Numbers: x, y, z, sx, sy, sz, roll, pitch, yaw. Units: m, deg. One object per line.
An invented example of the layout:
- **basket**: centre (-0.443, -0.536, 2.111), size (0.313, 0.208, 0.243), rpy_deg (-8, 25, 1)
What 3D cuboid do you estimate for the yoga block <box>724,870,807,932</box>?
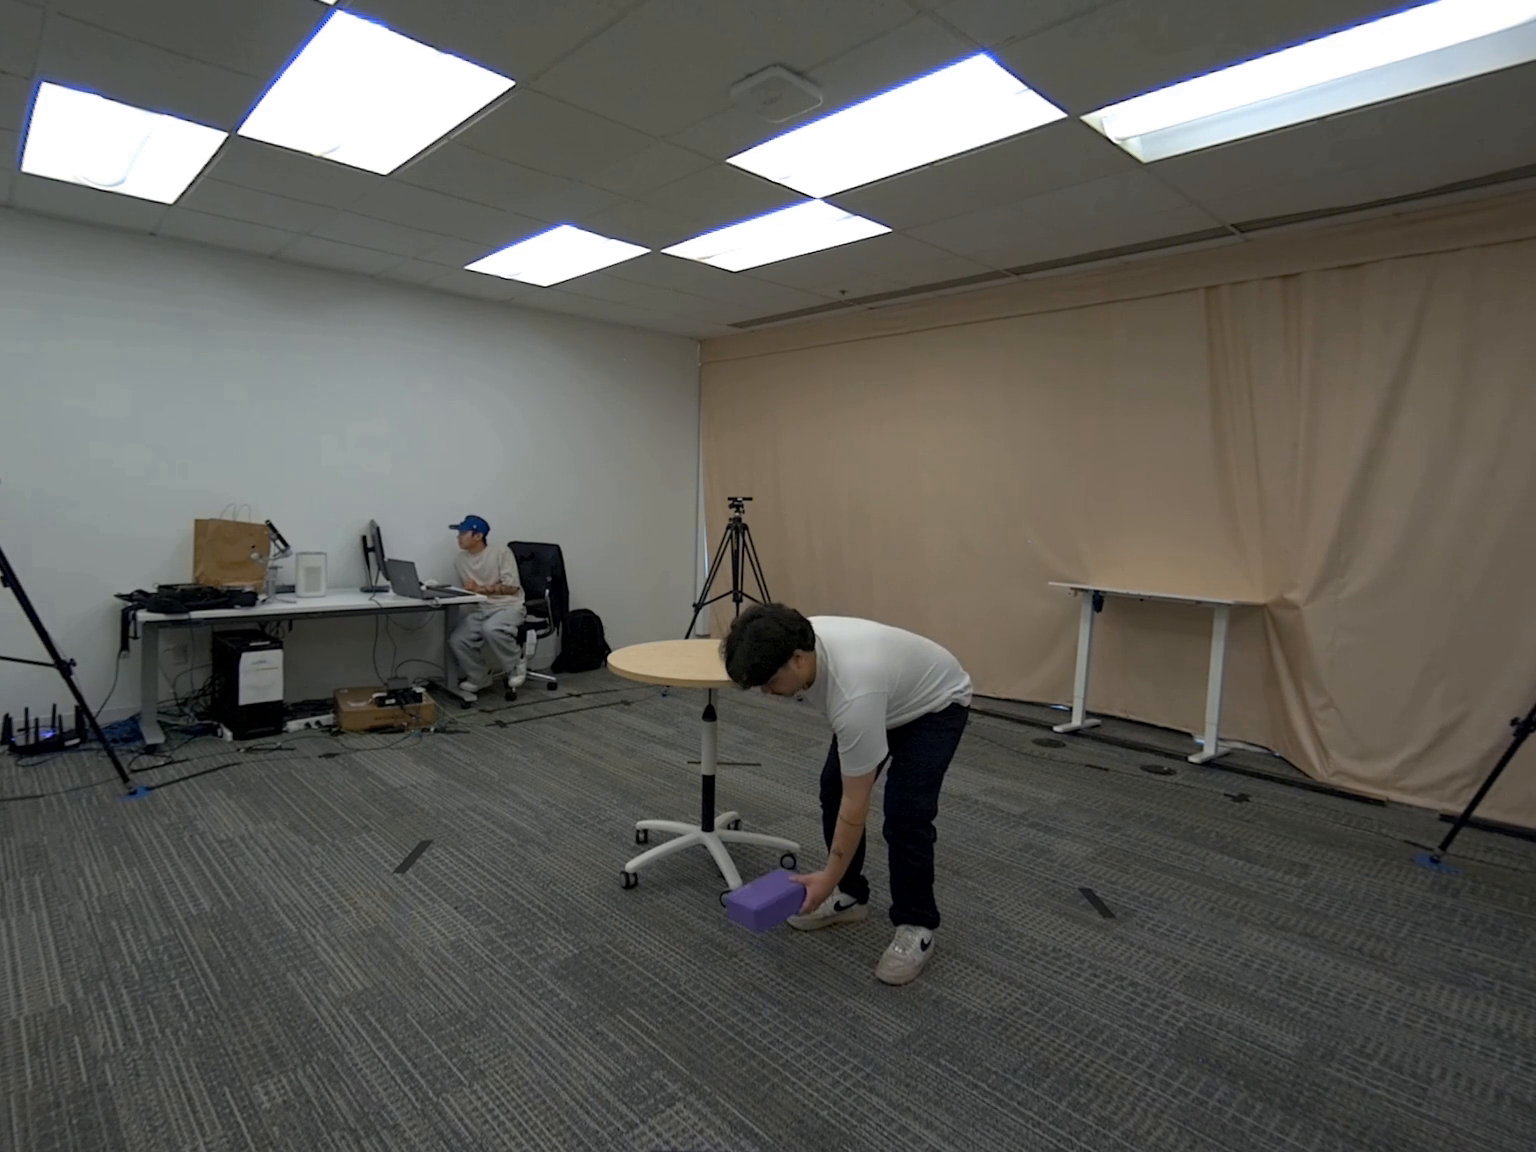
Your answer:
- **yoga block**: centre (0.003, 0.936, 2.439), size (0.225, 0.076, 0.152), rpy_deg (-11, 7, -40)
